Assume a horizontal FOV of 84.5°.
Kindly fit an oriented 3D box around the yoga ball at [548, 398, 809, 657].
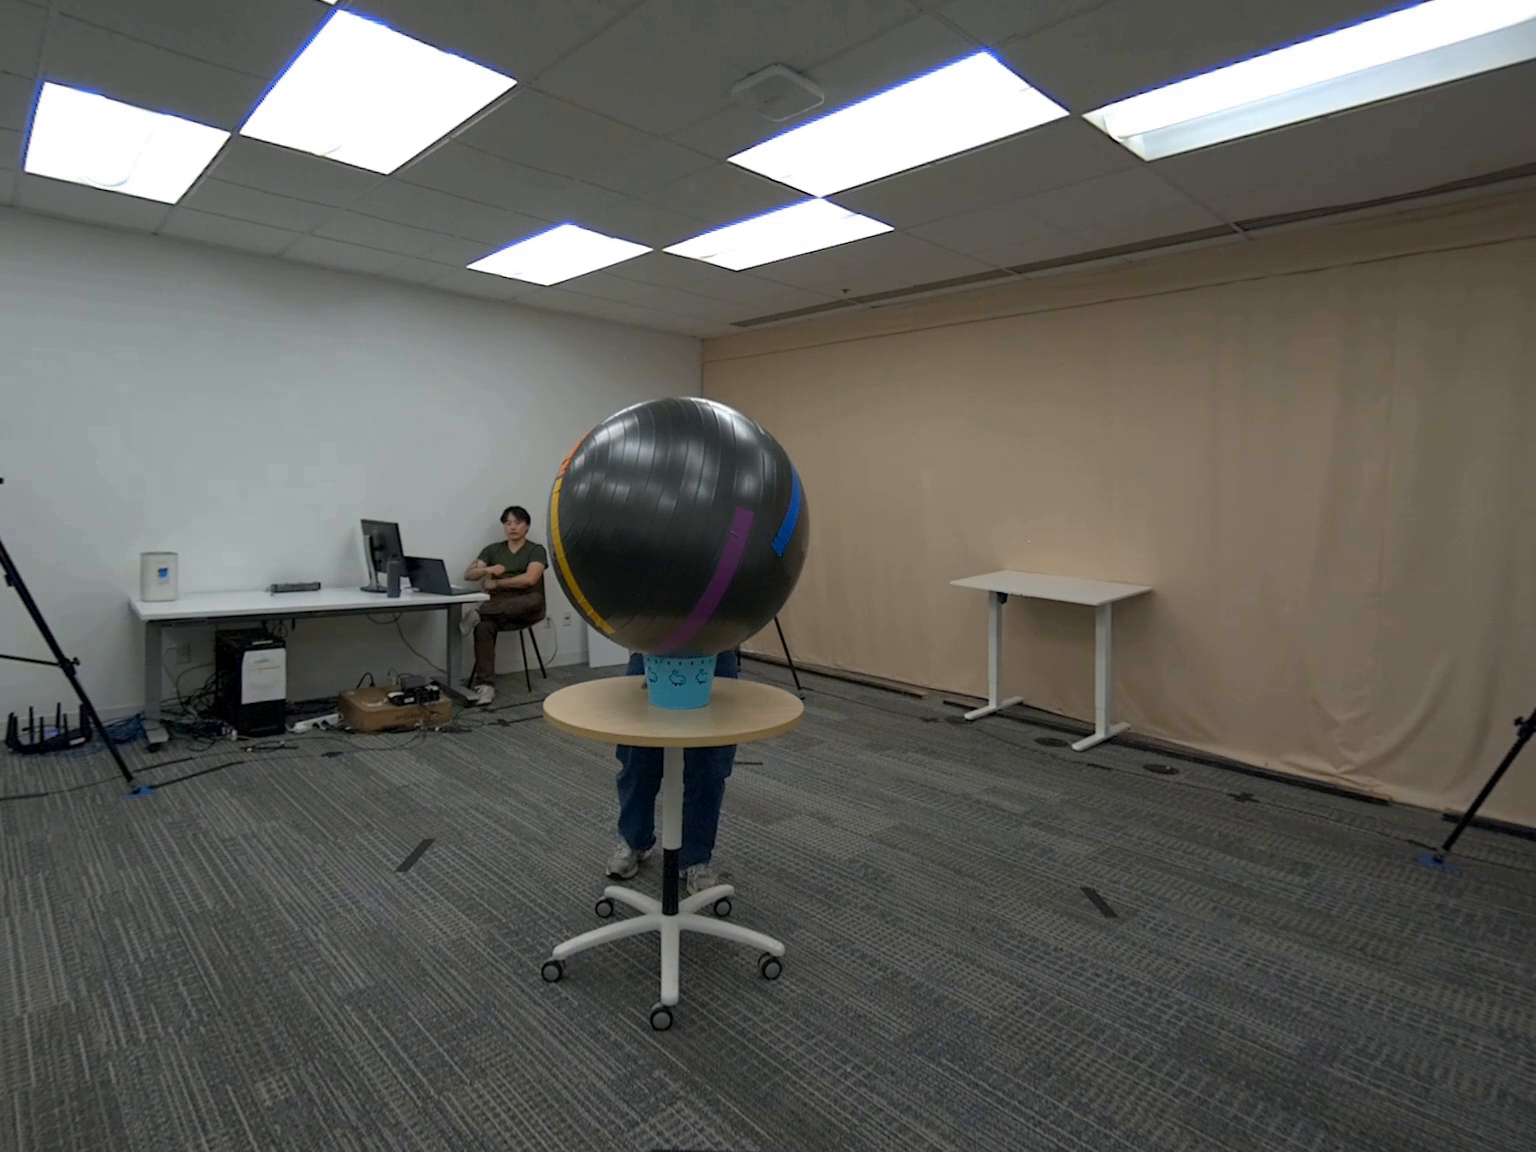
[{"bbox_3d":[-0.267,-0.136,2.450,0.757,0.756,0.761,1,4,-1],"label":"yoga ball"}]
